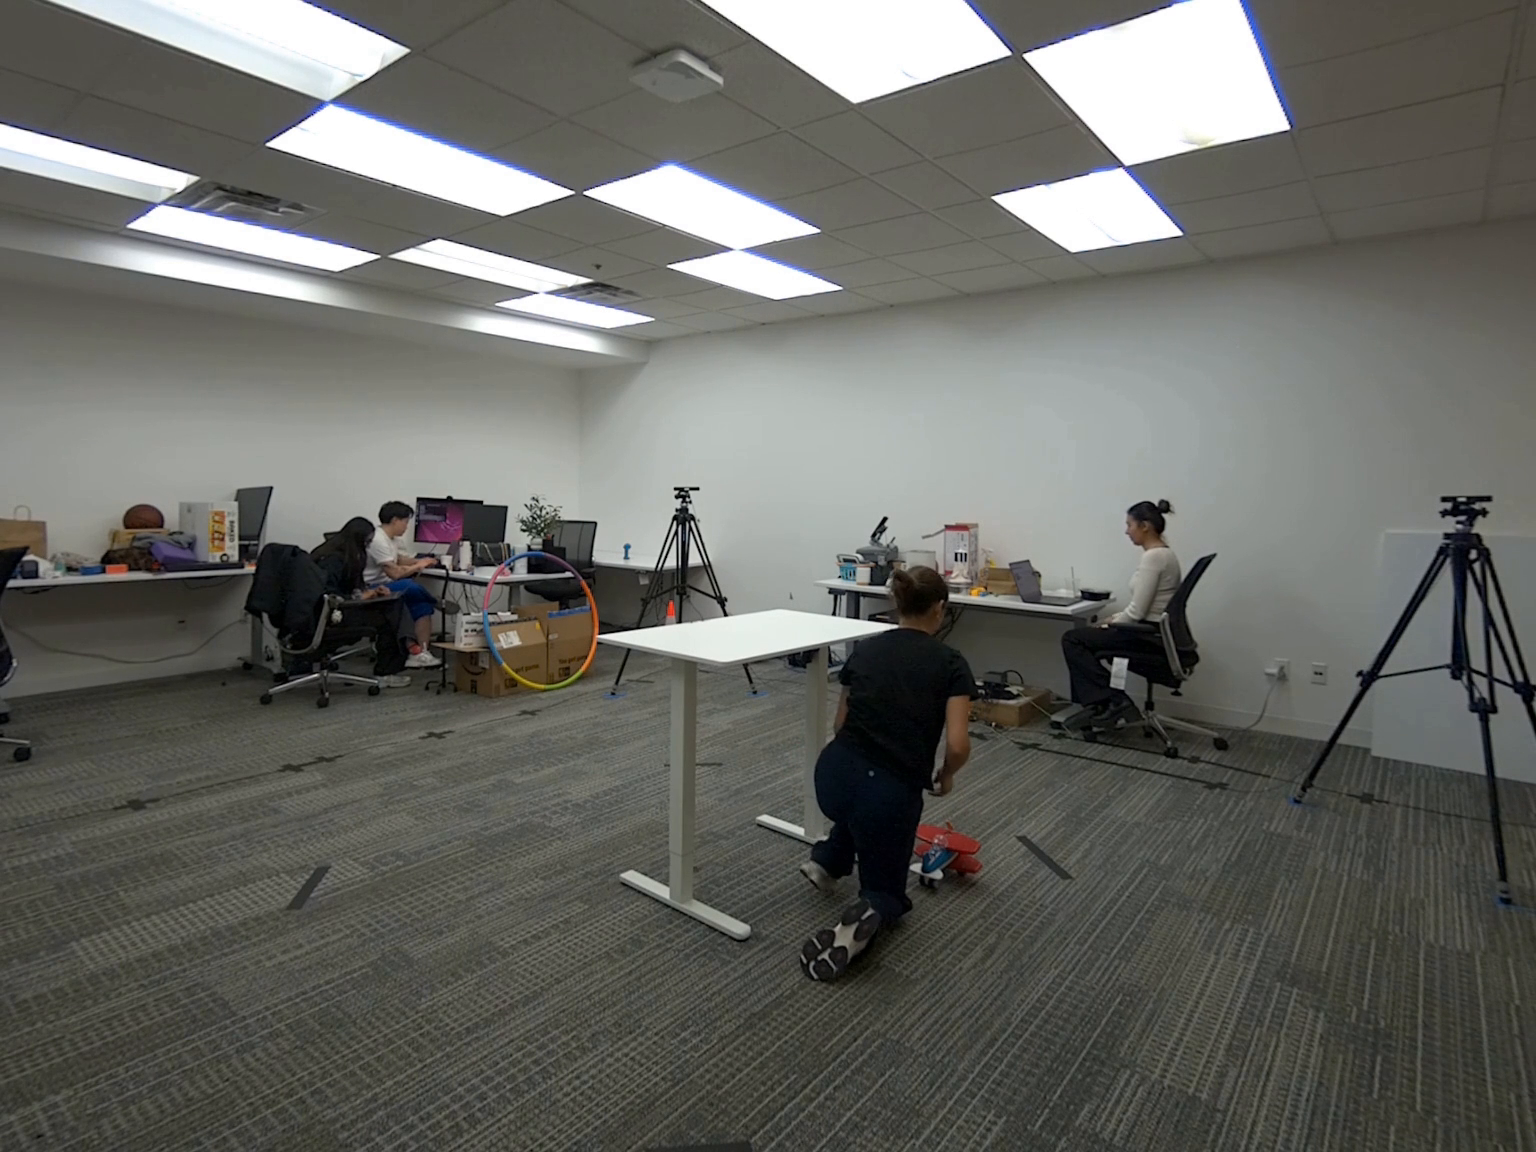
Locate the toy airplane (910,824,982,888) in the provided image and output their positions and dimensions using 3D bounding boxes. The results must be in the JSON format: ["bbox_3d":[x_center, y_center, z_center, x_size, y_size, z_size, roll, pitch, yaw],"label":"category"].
[{"bbox_3d":[0.664,1.016,3.065,0.255,0.156,0.256,3,4,14],"label":"toy airplane"}]
